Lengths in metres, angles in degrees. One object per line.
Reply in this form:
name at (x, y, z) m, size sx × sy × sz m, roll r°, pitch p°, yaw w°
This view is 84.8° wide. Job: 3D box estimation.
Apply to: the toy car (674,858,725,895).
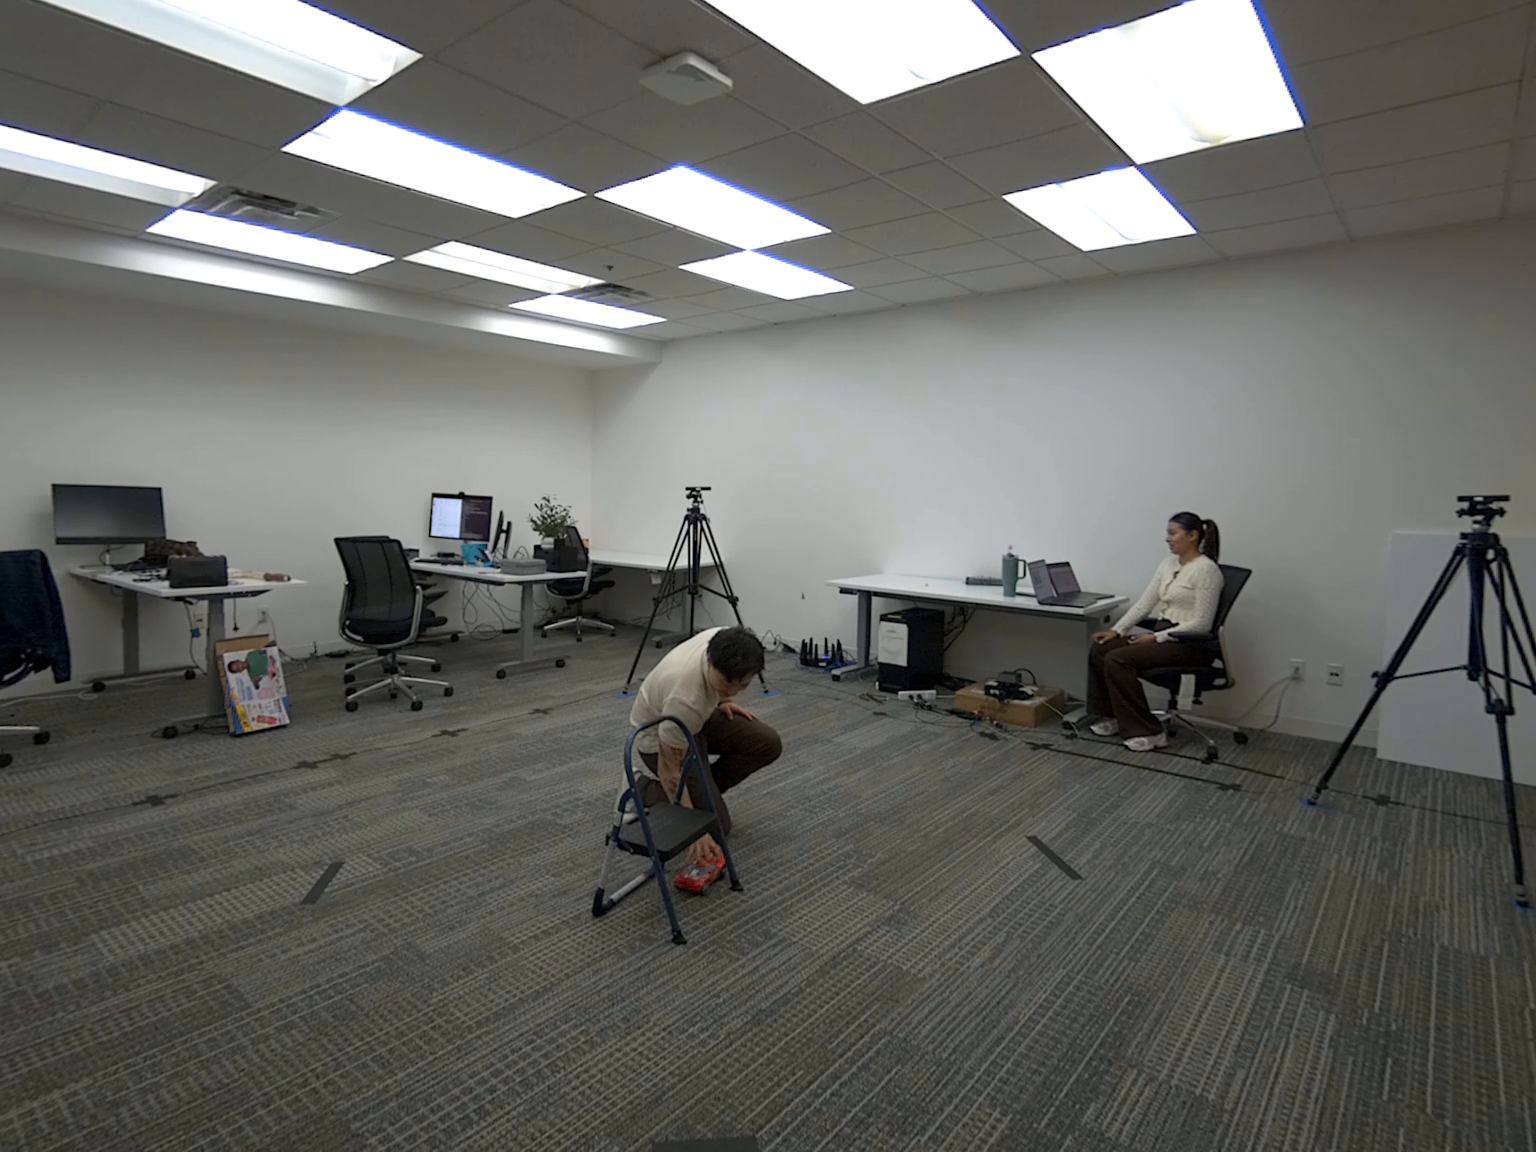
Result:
toy car at (-0.252, 1.048, 2.981) m, size 0.133 × 0.082 × 0.252 m, roll 2°, pitch 16°, yaw 24°
